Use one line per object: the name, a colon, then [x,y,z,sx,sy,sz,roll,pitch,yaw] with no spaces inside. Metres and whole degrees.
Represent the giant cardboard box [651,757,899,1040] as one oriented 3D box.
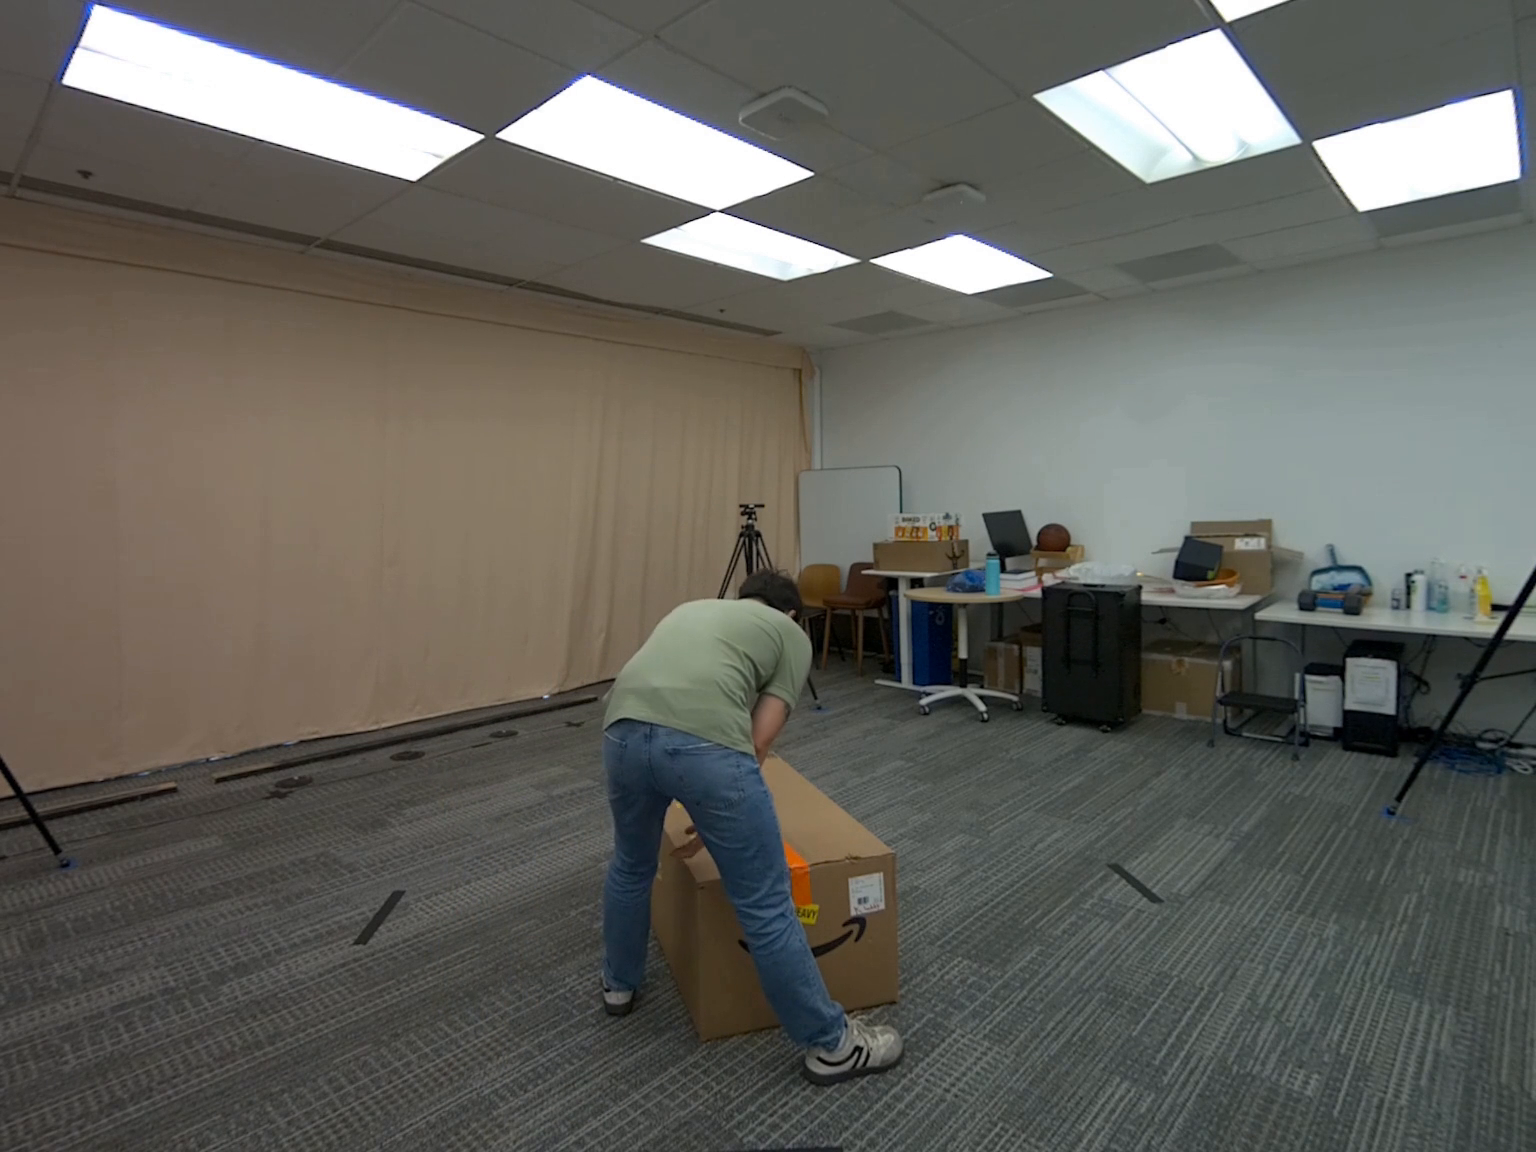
giant cardboard box: [-0.073,0.941,2.744,0.567,0.425,1.047,-4,6,-19]
